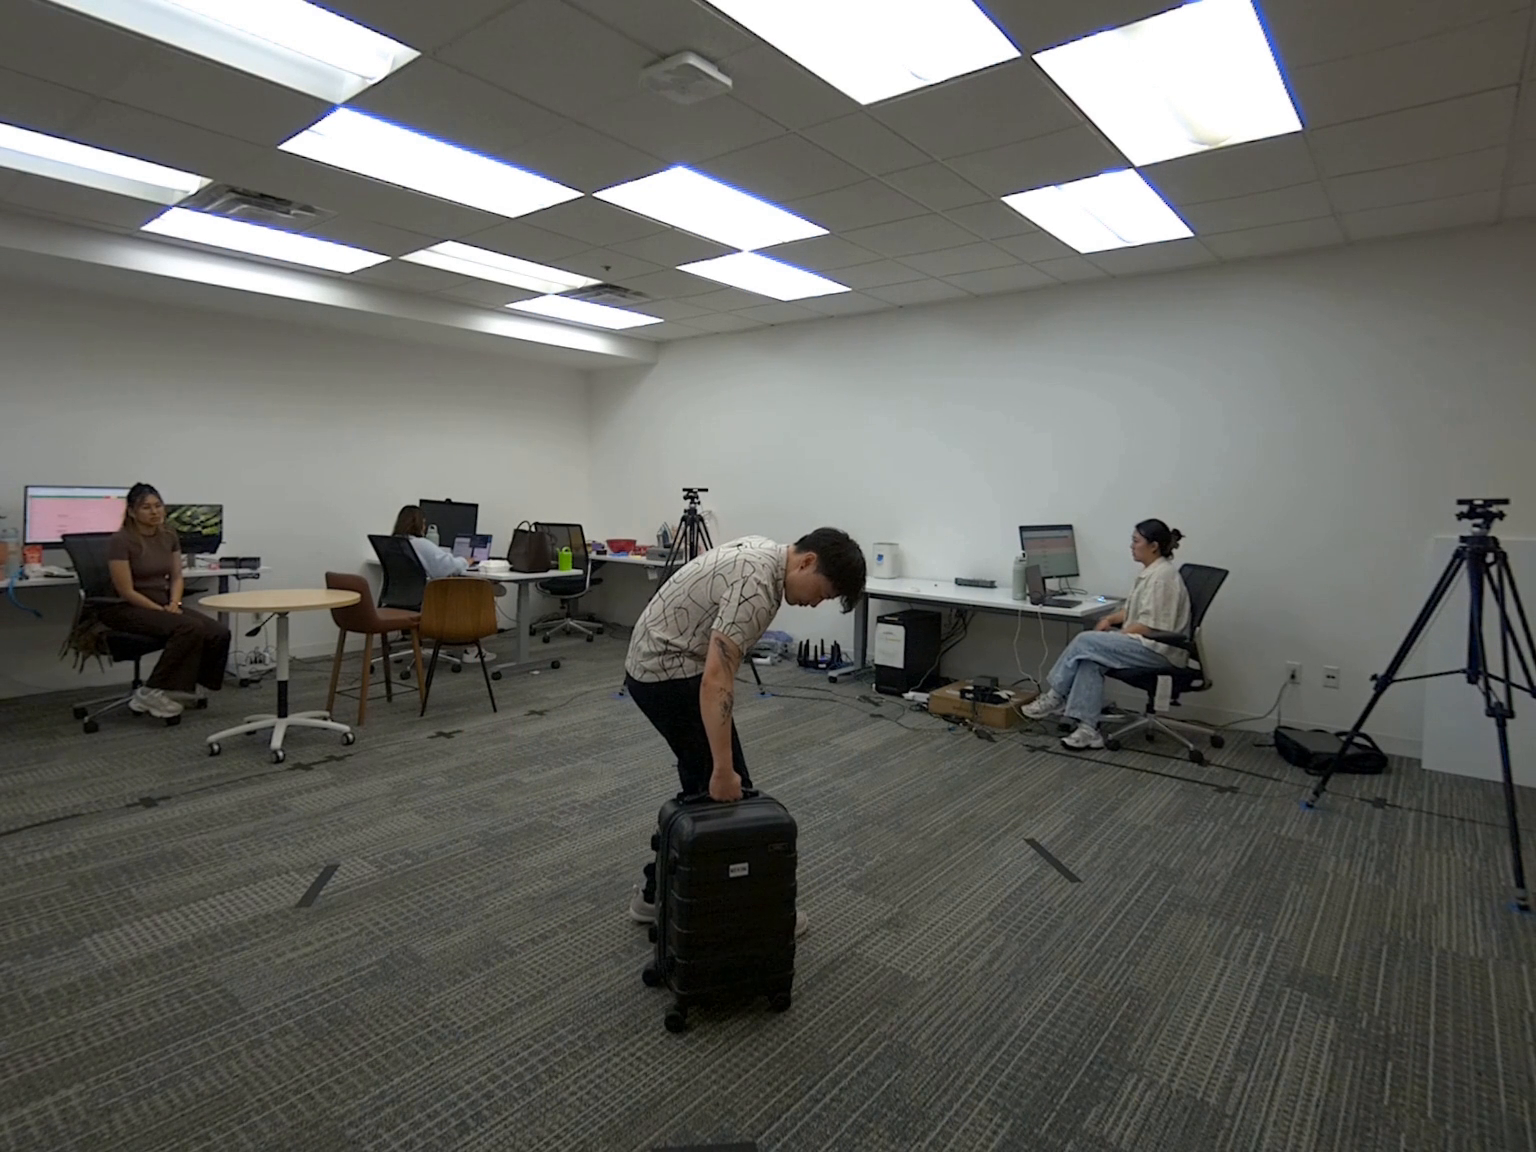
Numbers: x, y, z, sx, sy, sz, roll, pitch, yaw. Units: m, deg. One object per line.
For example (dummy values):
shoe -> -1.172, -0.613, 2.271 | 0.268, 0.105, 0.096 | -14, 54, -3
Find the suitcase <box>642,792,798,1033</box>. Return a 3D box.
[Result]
suitcase -> -0.123, 0.873, 2.320 | 0.367, 0.548, 0.255 | 1, 3, -22
